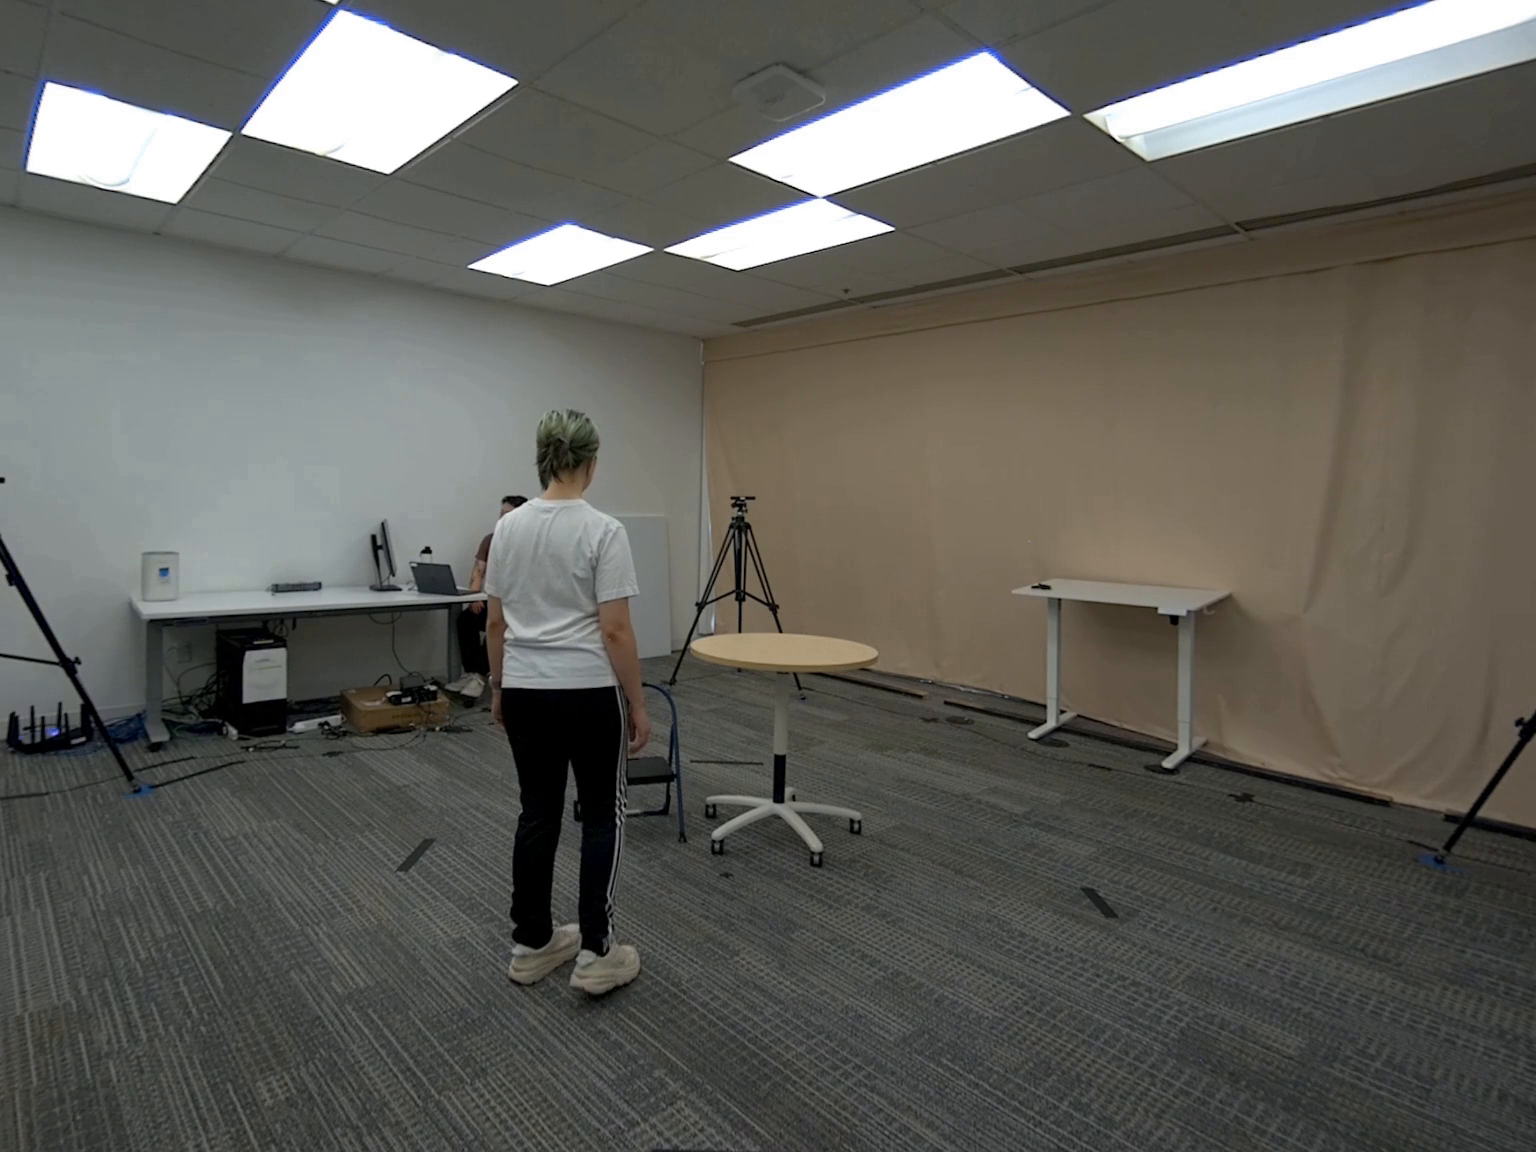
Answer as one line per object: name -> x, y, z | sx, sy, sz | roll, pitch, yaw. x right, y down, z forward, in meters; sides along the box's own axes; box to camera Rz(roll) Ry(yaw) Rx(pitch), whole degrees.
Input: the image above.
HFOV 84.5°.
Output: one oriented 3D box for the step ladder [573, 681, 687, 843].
step ladder -> -0.581, 0.759, 3.485 | 0.425, 0.605, 0.355 | 1, 3, -18
